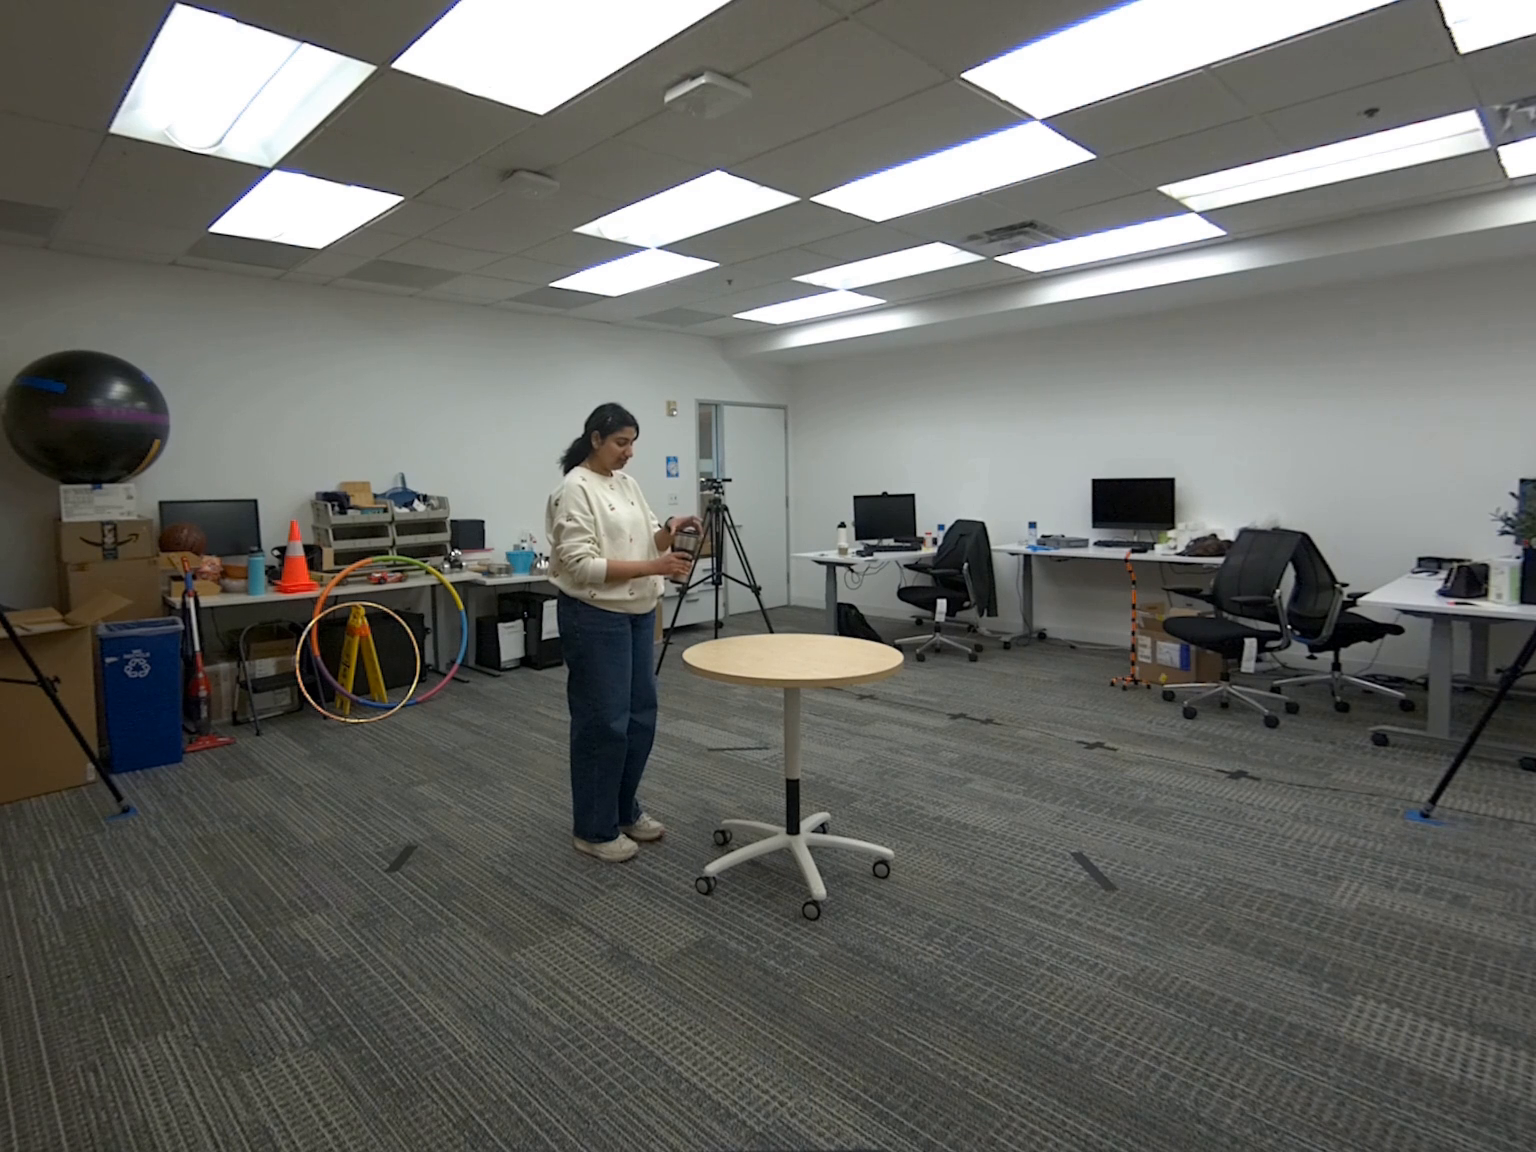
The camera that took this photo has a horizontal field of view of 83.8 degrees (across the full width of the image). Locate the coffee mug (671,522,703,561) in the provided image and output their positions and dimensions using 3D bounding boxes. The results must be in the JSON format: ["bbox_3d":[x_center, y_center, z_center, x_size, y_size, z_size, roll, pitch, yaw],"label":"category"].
[{"bbox_3d":[-0.303,-0.070,3.174,0.118,0.203,0.090,5,-3,-41],"label":"coffee mug"}]
